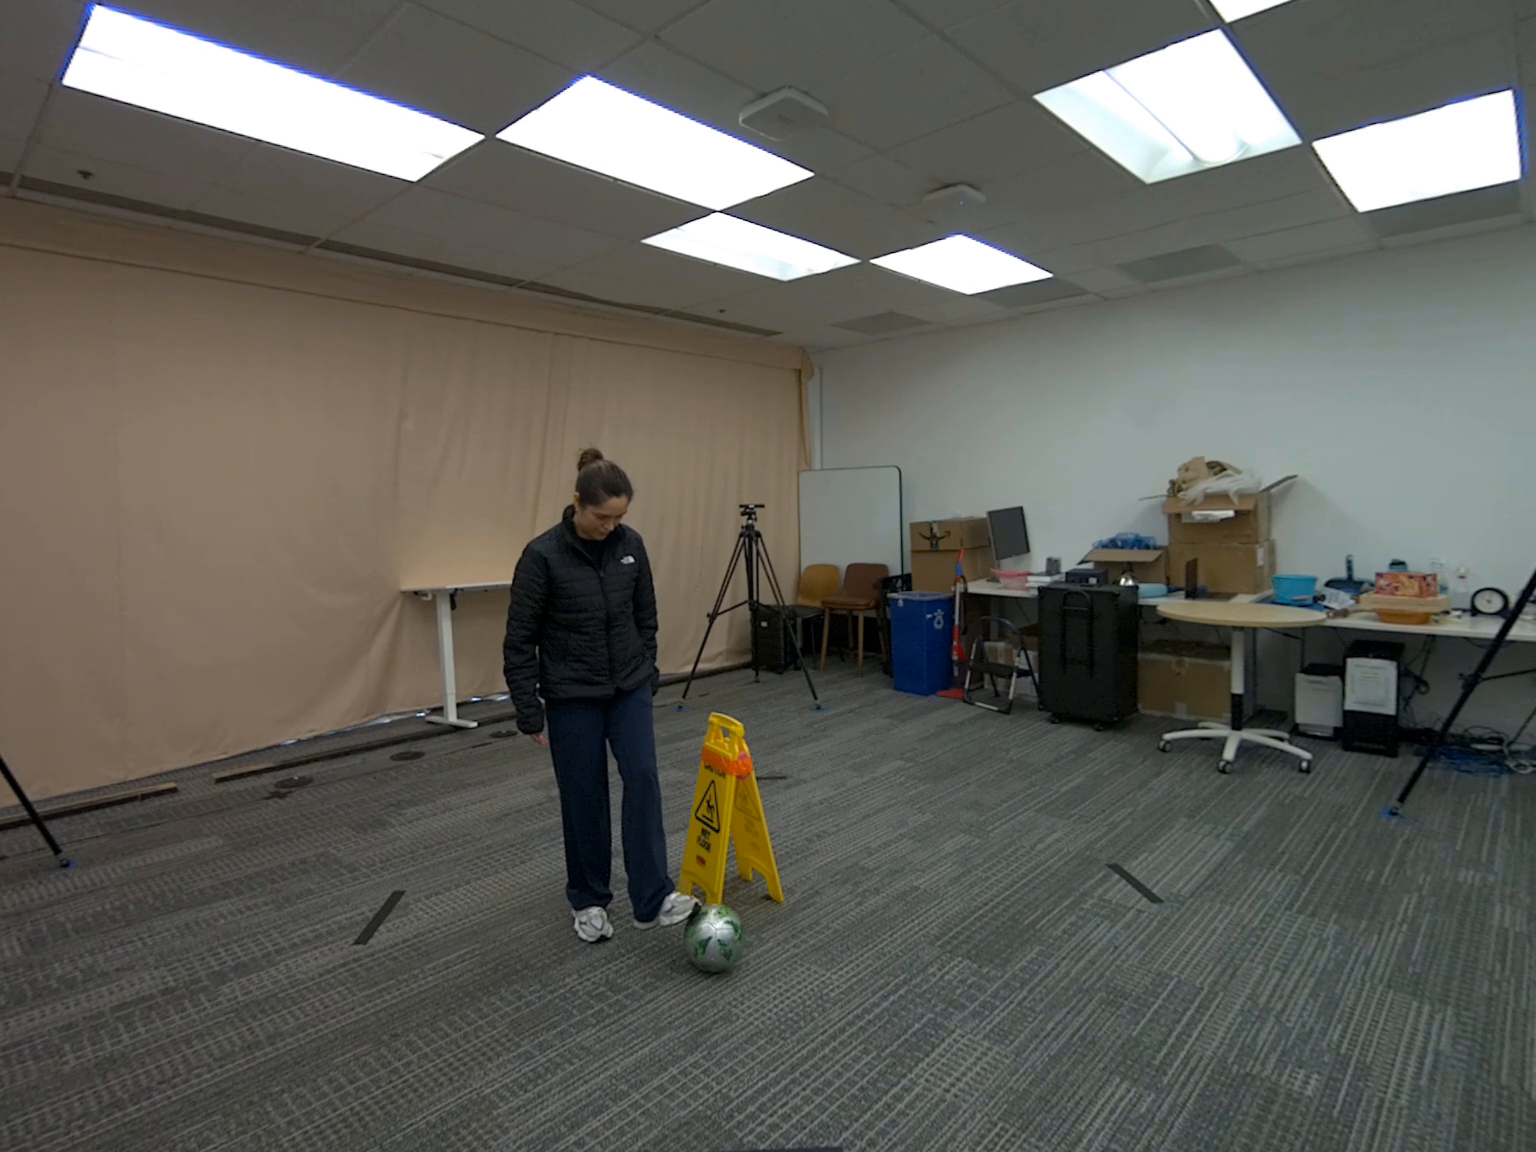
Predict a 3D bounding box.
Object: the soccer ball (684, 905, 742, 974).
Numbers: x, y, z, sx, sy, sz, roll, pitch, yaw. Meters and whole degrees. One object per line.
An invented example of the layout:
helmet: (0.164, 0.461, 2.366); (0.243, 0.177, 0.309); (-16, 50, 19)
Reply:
soccer ball: (-0.154, 1.079, 2.538); (0.187, 0.187, 0.188); (-1, 4, -2)
